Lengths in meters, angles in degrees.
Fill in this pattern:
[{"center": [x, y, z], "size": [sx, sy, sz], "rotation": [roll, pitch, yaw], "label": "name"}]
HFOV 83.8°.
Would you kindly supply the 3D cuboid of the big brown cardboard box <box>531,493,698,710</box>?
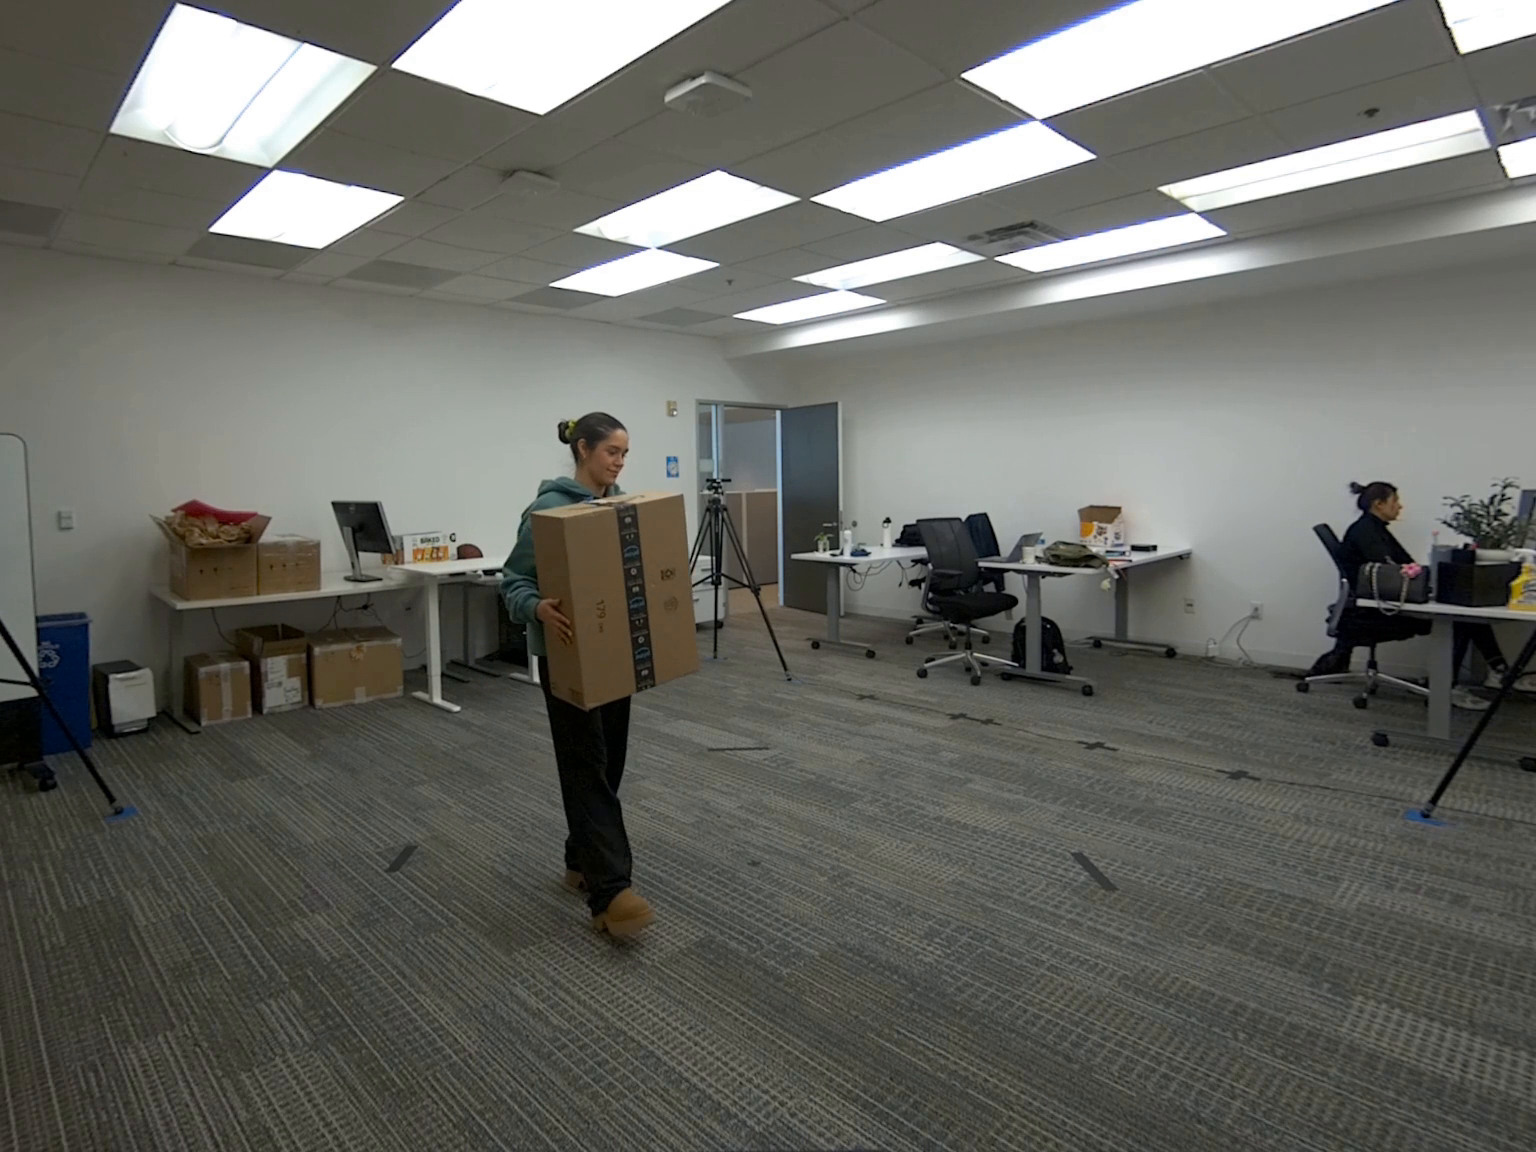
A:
[{"center": [-0.459, 0.060, 2.596], "size": [0.409, 0.583, 0.240], "rotation": [-14, 14, -37], "label": "big brown cardboard box"}]
